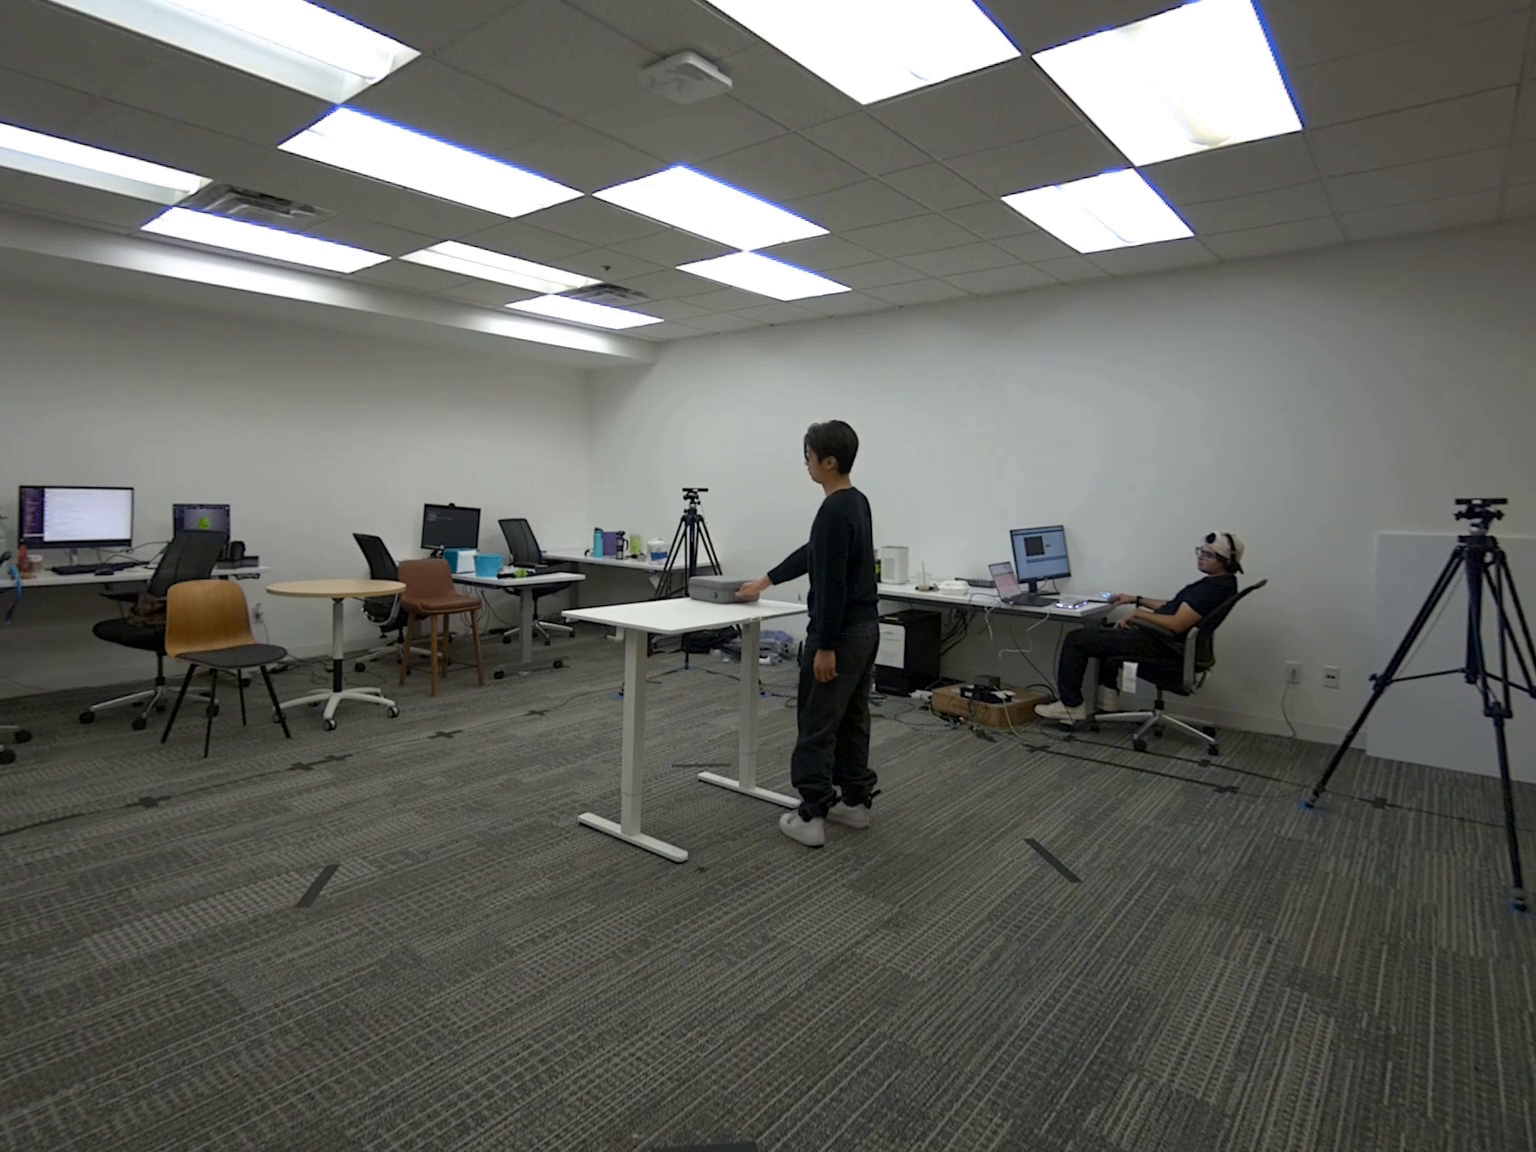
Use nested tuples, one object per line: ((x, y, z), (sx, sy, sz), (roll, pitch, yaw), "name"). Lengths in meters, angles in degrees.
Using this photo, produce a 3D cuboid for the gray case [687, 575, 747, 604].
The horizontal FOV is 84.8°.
((-0.211, 0.055, 3.938), (0.249, 0.104, 0.270), (-2, 7, -45), "gray case")
